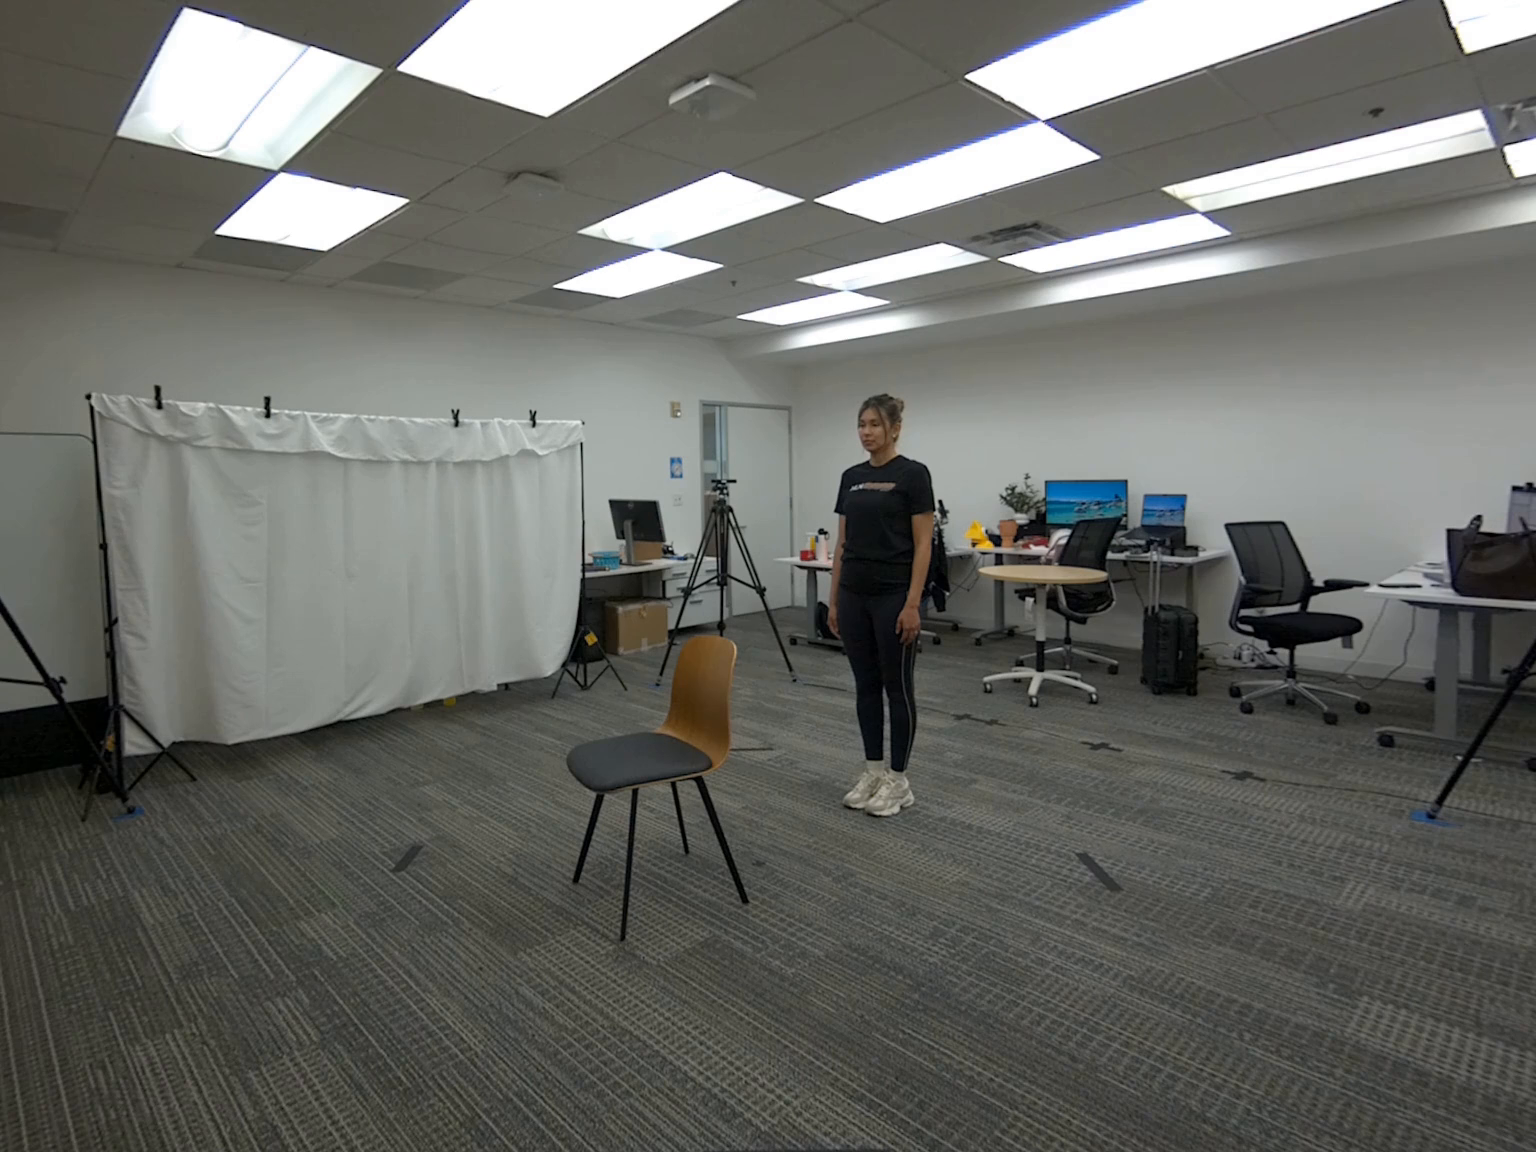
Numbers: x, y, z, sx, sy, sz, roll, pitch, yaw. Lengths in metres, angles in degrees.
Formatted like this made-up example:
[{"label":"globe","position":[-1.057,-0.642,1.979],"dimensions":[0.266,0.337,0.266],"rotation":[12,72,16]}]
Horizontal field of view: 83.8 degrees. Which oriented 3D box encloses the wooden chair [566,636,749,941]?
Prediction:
[{"label":"wooden chair","position":[-0.386,0.654,2.865],"dimensions":[0.510,0.876,0.491],"rotation":[1,3,-31]}]
